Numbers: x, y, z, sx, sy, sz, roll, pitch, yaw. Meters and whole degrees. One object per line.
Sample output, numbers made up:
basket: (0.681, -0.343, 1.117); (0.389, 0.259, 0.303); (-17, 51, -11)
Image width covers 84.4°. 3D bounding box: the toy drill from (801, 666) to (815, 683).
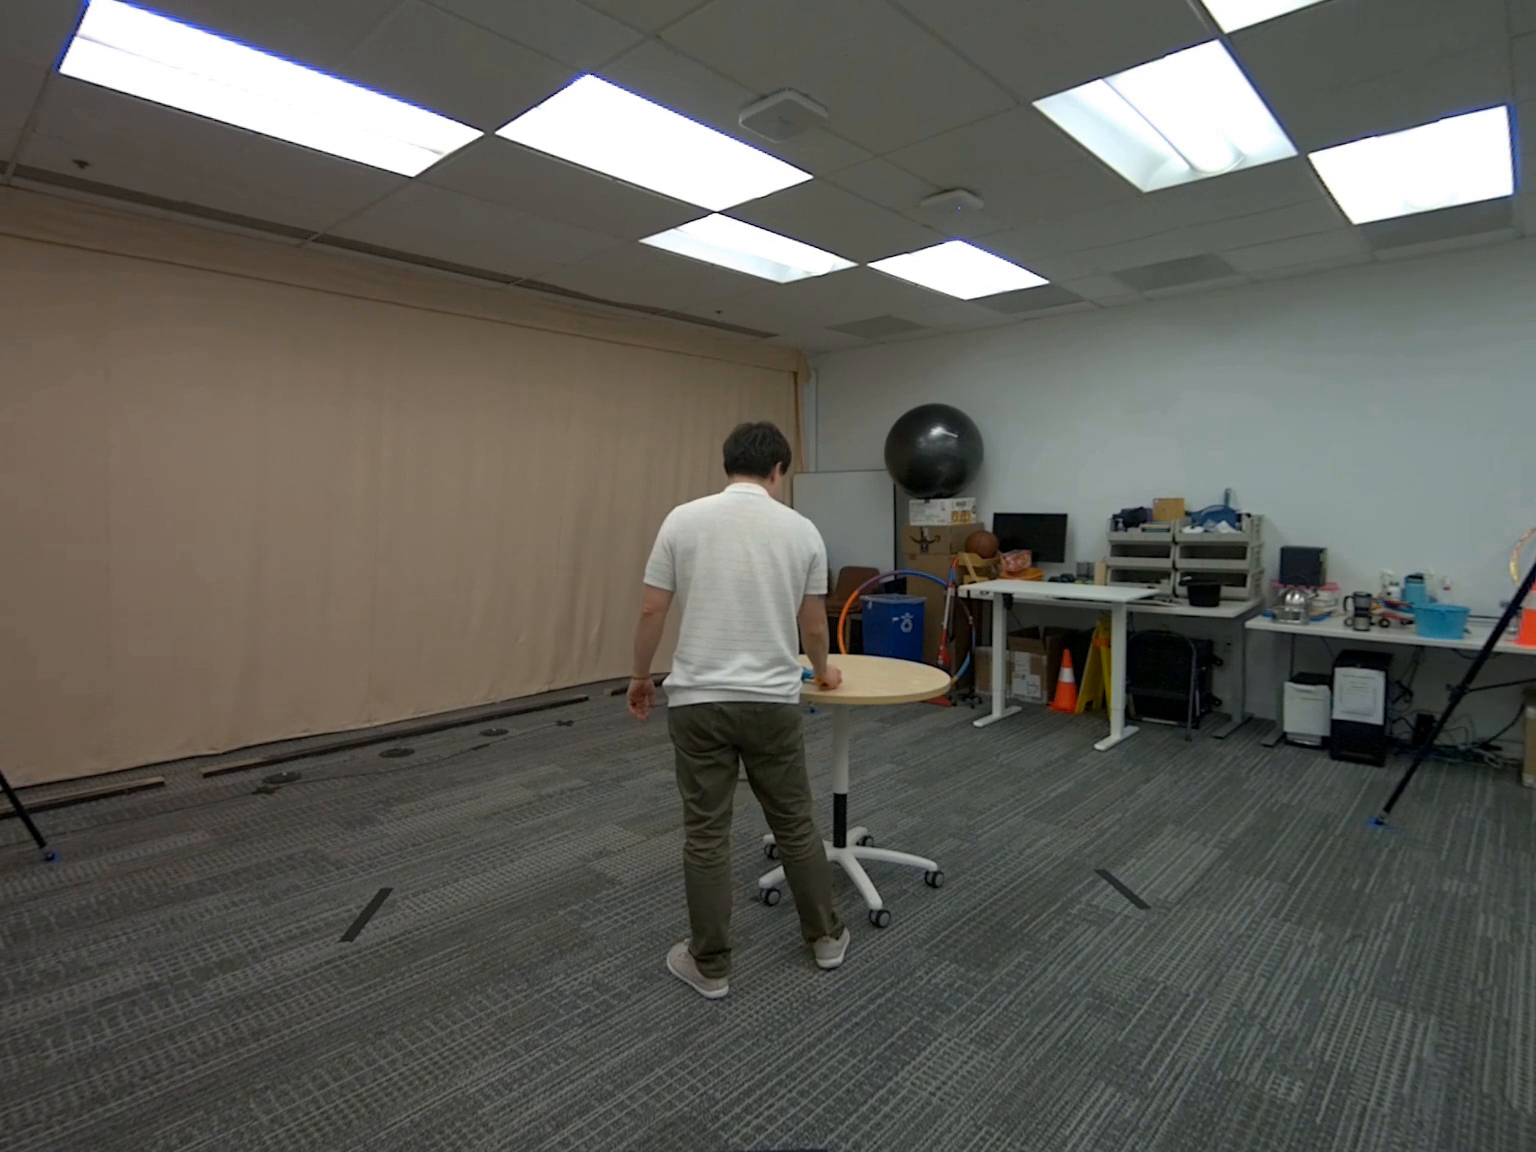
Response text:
toy drill: (0.172, 0.341, 2.846); (0.150, 0.061, 0.165); (0, 3, 29)
